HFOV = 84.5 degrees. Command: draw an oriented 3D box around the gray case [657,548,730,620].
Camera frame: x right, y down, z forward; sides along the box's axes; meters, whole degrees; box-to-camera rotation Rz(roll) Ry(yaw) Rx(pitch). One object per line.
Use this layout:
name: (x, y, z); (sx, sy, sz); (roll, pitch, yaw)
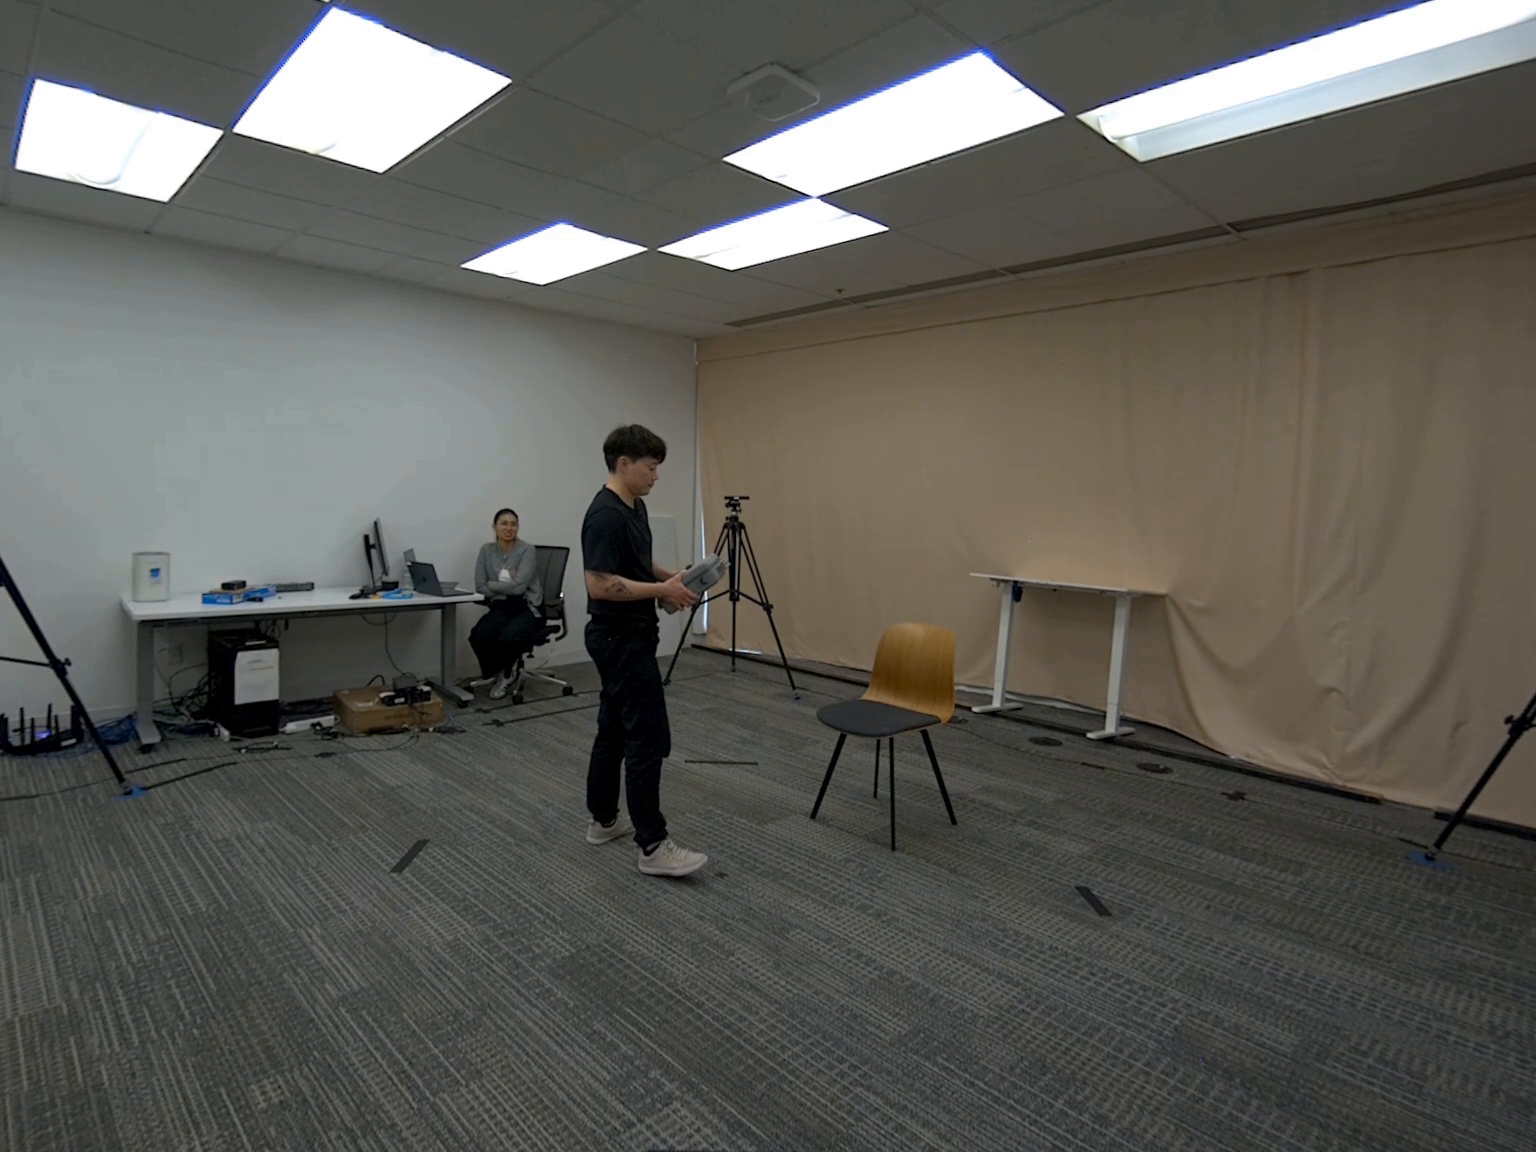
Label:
gray case: (-0.303, 0.025, 3.285); (0.261, 0.104, 0.257); (-34, 5, 10)
